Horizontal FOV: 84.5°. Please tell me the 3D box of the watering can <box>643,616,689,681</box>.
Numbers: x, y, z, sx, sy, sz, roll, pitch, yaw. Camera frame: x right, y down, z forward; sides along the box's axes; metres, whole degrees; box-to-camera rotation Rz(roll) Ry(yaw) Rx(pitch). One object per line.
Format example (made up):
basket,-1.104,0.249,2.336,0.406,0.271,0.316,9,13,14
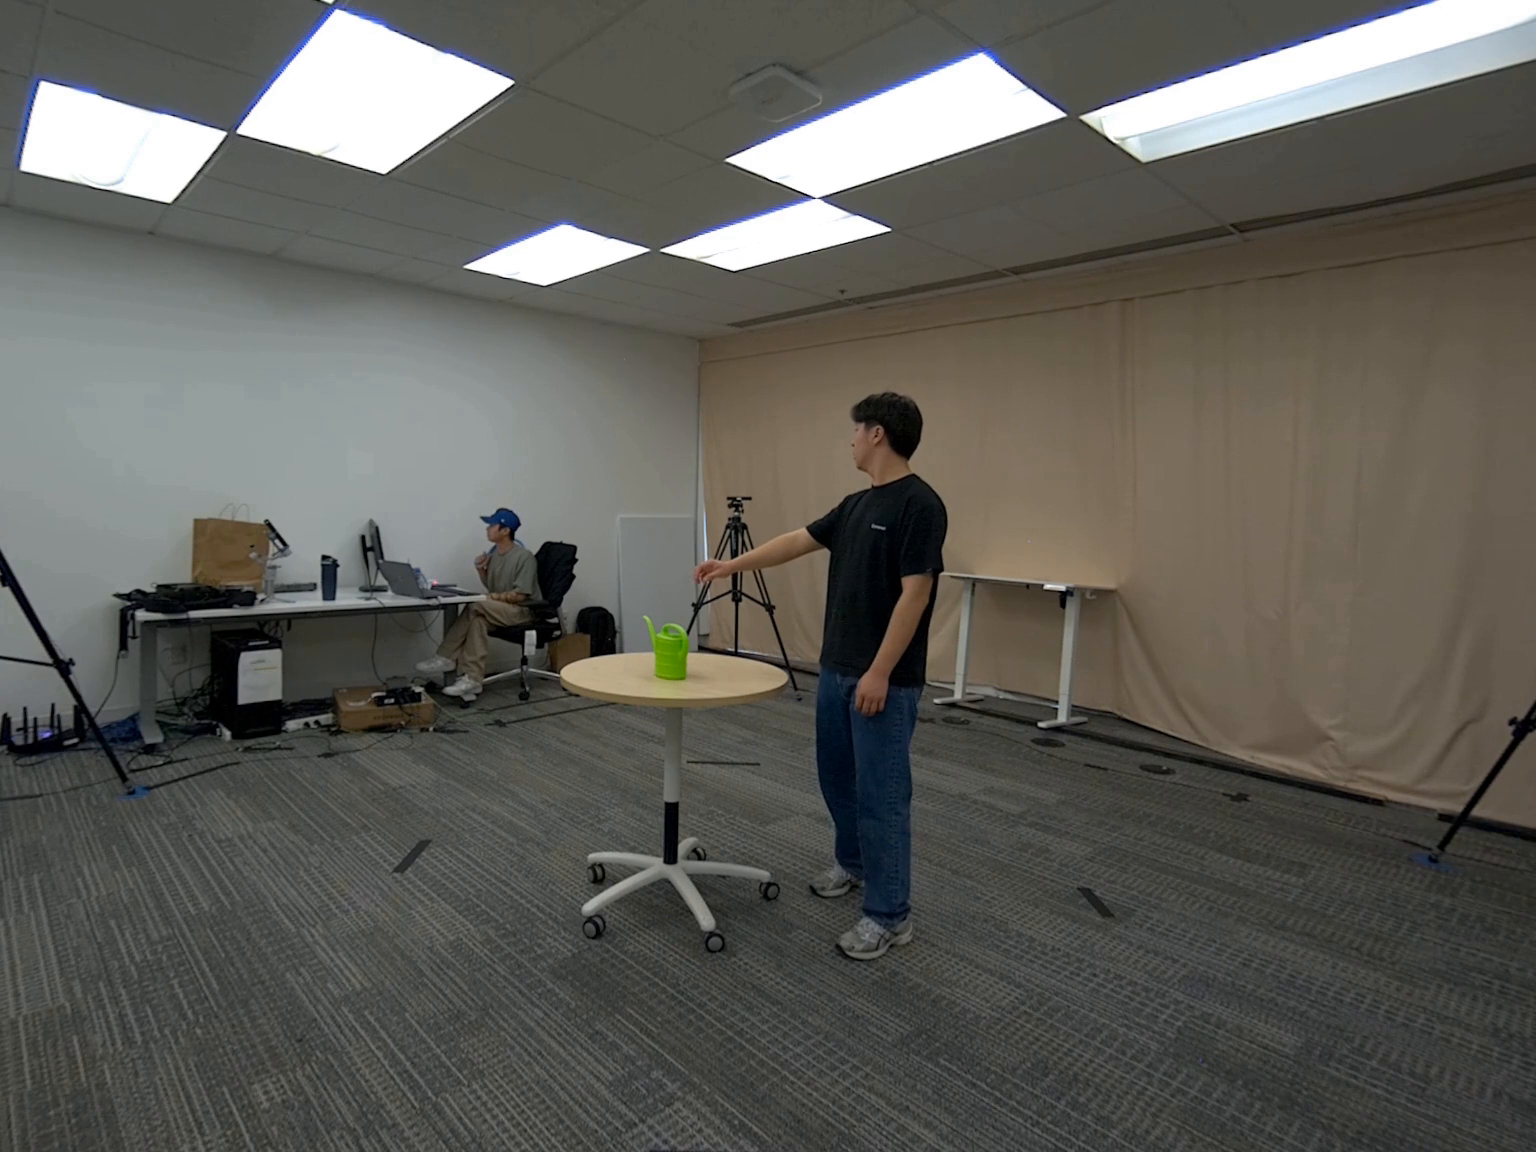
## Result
watering can,-0.338,0.242,2.825,0.096,0.176,0.284,1,6,-24
